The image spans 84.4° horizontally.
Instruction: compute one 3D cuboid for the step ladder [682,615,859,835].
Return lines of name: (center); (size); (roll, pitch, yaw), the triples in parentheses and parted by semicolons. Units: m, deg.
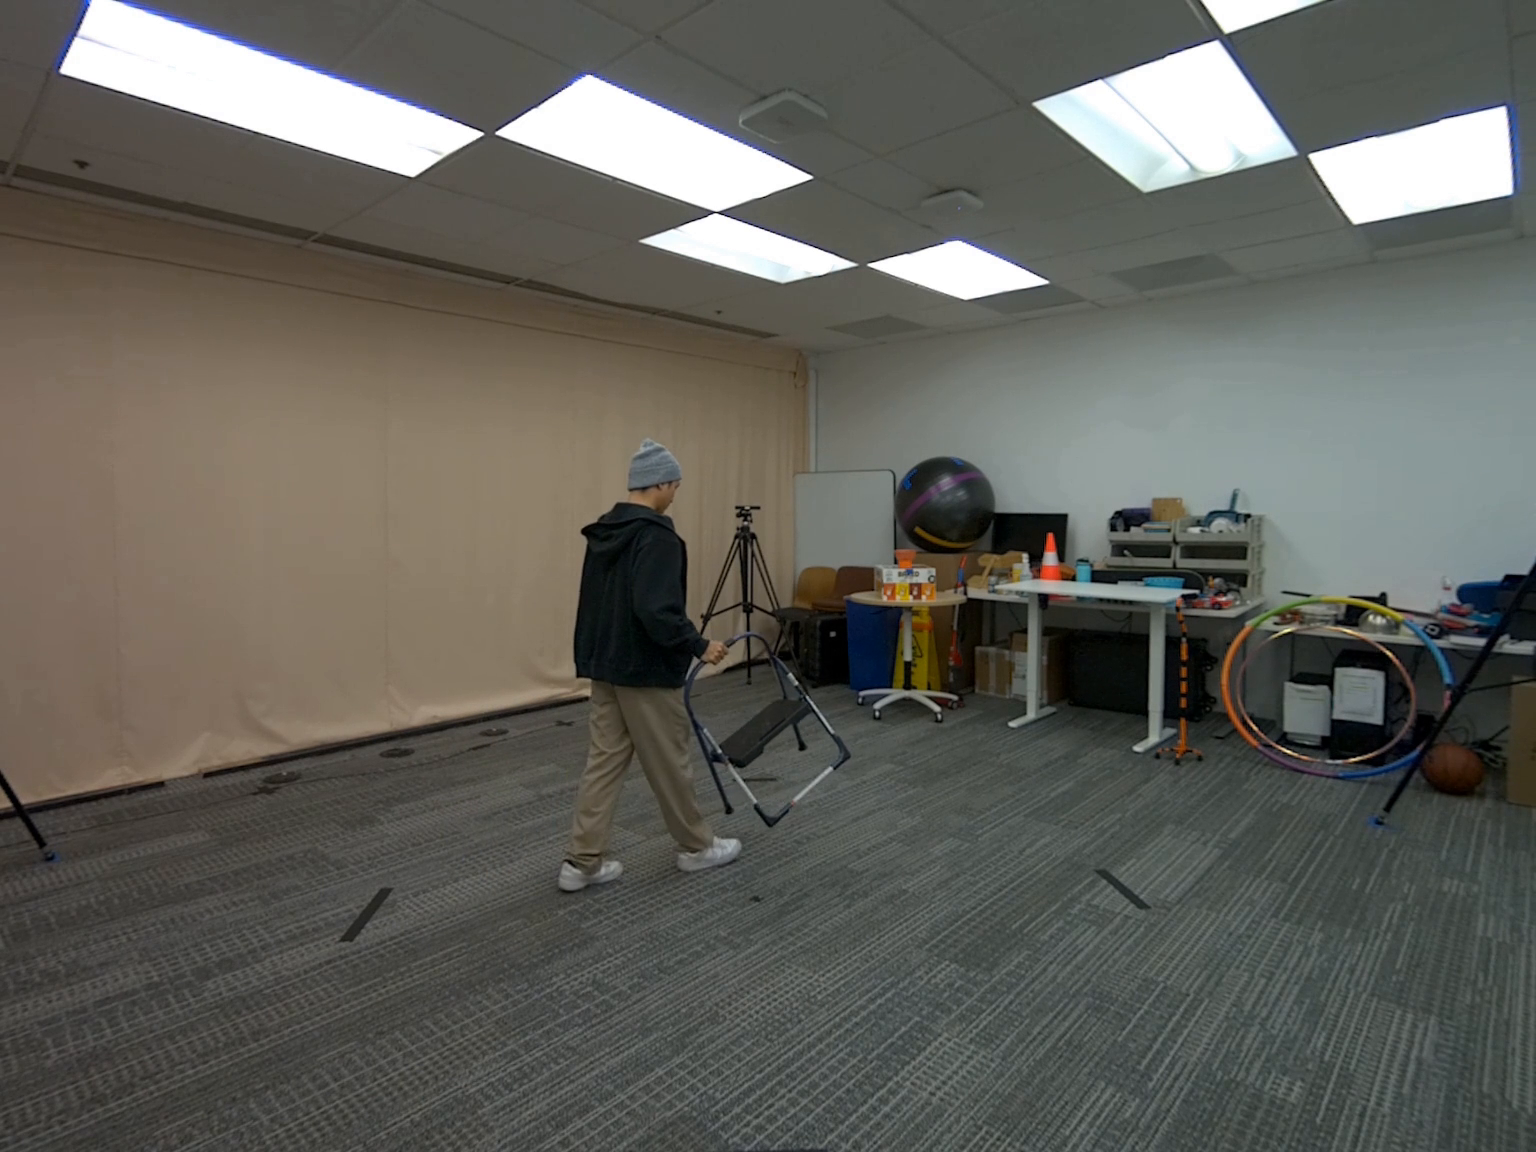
step ladder: (-0.062, 0.521, 3.086); (0.425, 0.600, 0.357); (-34, 10, -27)
